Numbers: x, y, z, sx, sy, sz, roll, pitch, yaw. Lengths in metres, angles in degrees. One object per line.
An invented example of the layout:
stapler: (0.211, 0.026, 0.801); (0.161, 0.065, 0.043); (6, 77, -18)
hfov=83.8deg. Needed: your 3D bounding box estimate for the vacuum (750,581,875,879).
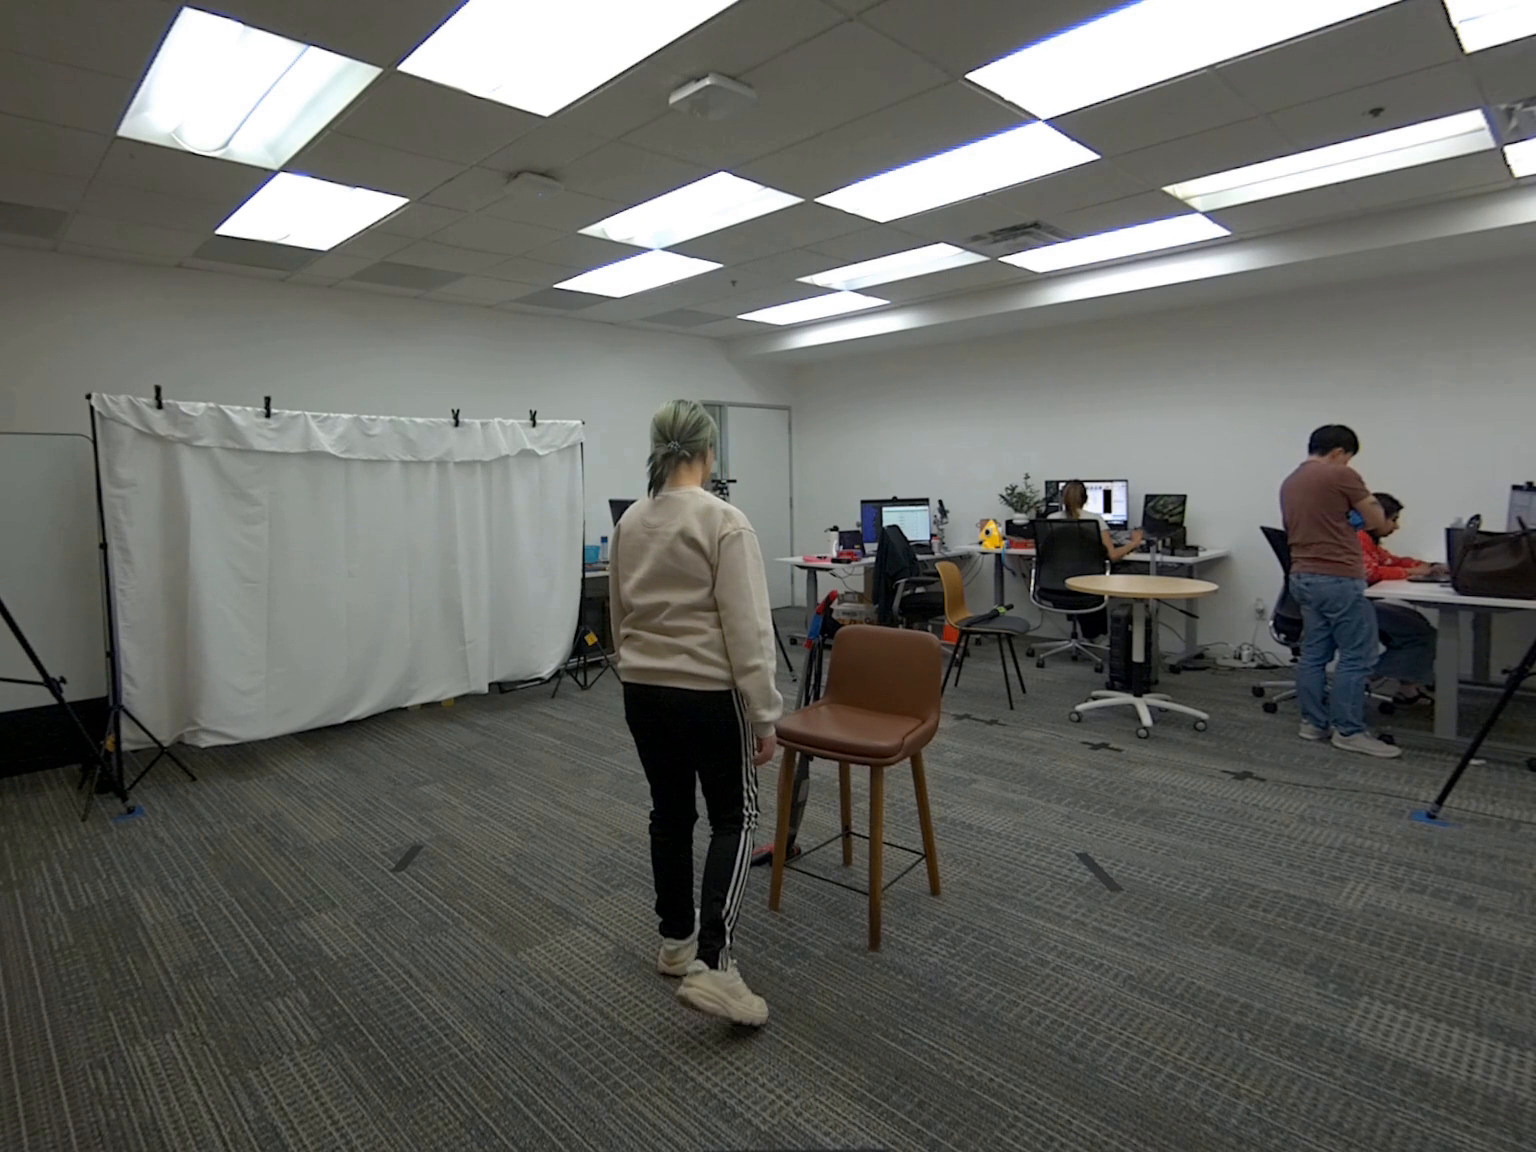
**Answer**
vacuum: (0.128, 0.543, 3.028); (0.246, 1.038, 0.149); (-2, 19, -39)
